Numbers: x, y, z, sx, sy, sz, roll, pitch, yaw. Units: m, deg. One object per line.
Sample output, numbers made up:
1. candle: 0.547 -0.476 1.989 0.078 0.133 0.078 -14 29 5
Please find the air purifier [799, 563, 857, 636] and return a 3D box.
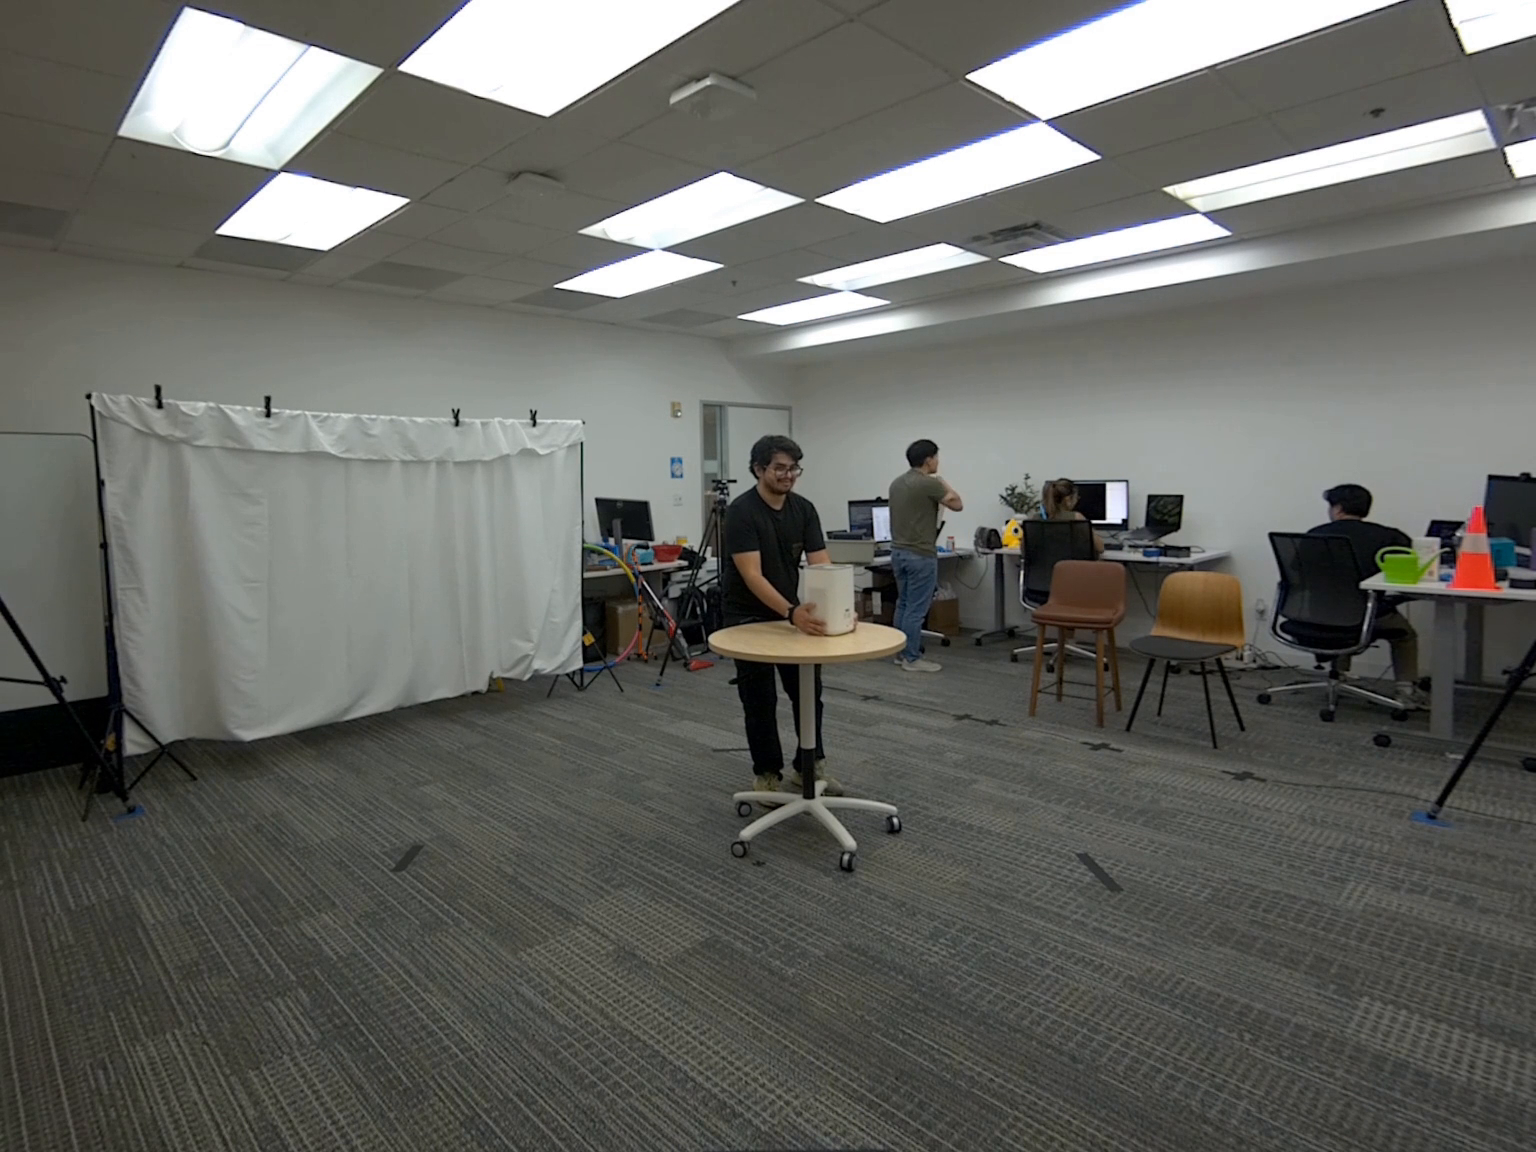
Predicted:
1. air purifier: 0.244 0.094 3.393 0.176 0.264 0.167 2 6 36
